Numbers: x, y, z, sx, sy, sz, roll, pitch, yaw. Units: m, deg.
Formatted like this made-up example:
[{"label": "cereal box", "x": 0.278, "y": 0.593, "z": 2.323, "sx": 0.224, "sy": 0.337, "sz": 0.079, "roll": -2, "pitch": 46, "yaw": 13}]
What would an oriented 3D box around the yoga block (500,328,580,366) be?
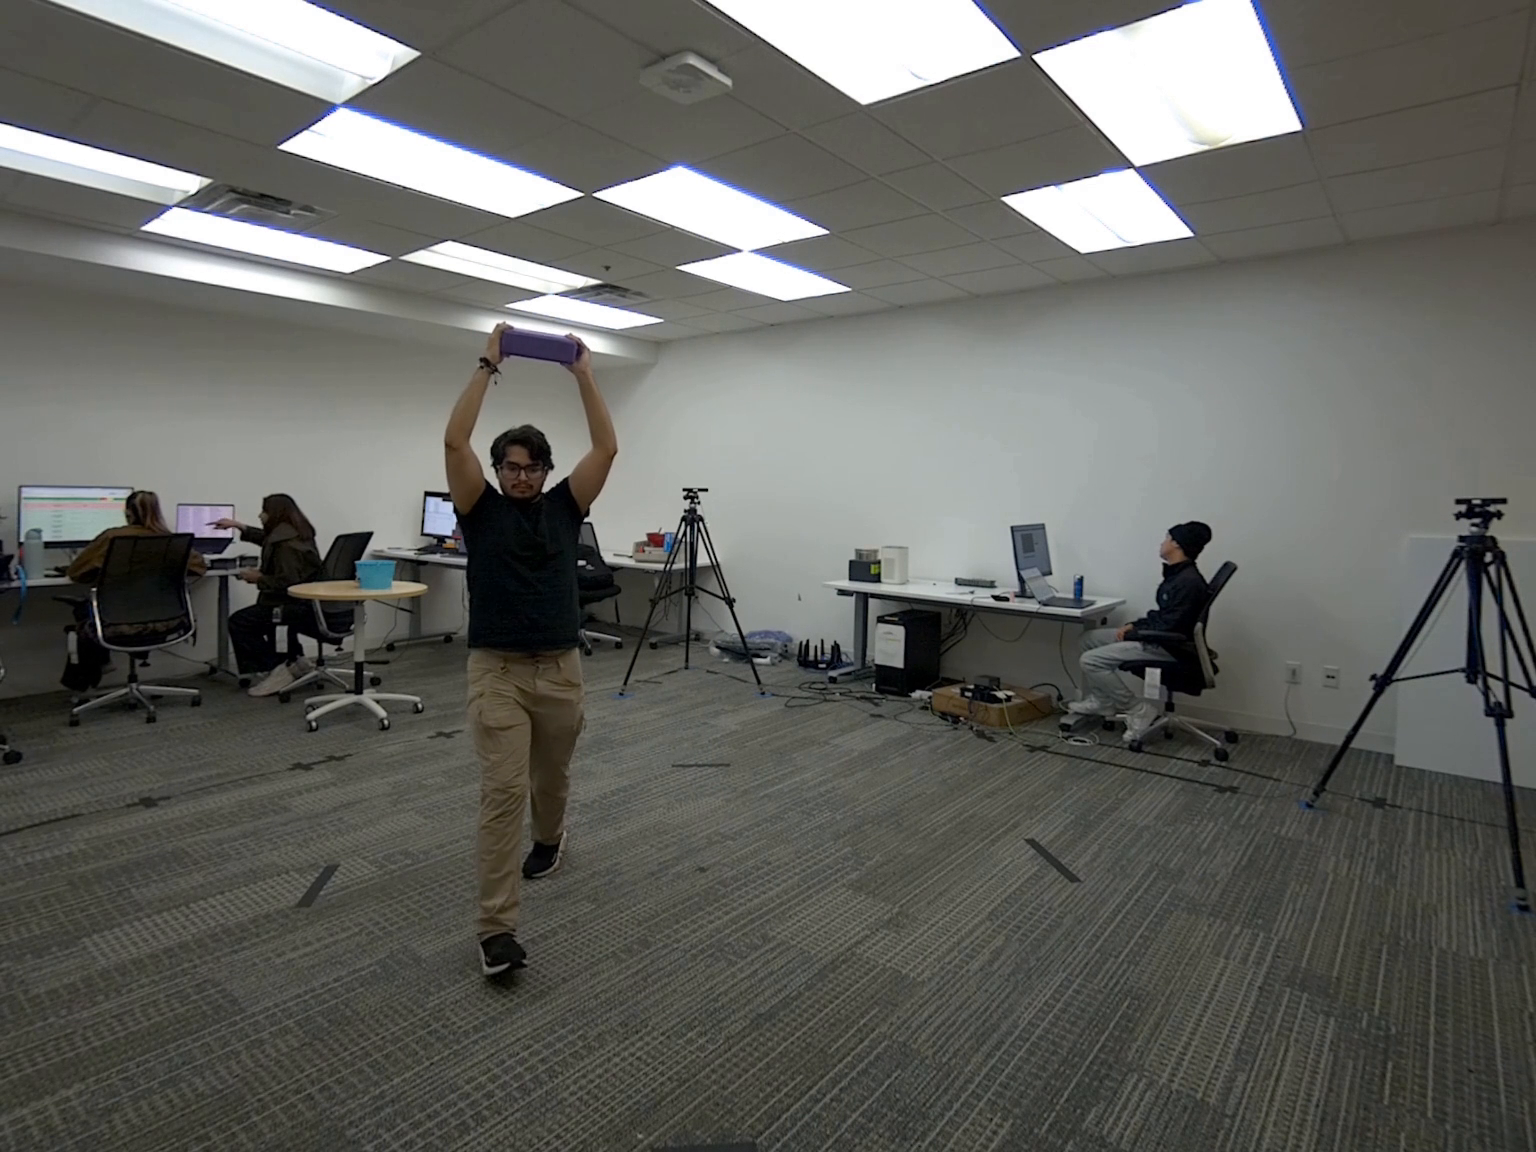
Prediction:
[{"label": "yoga block", "x": -0.736, "y": -0.736, "z": 2.698, "sx": 0.225, "sy": 0.075, "sz": 0.153, "roll": 4, "pitch": 18, "yaw": -16}]
